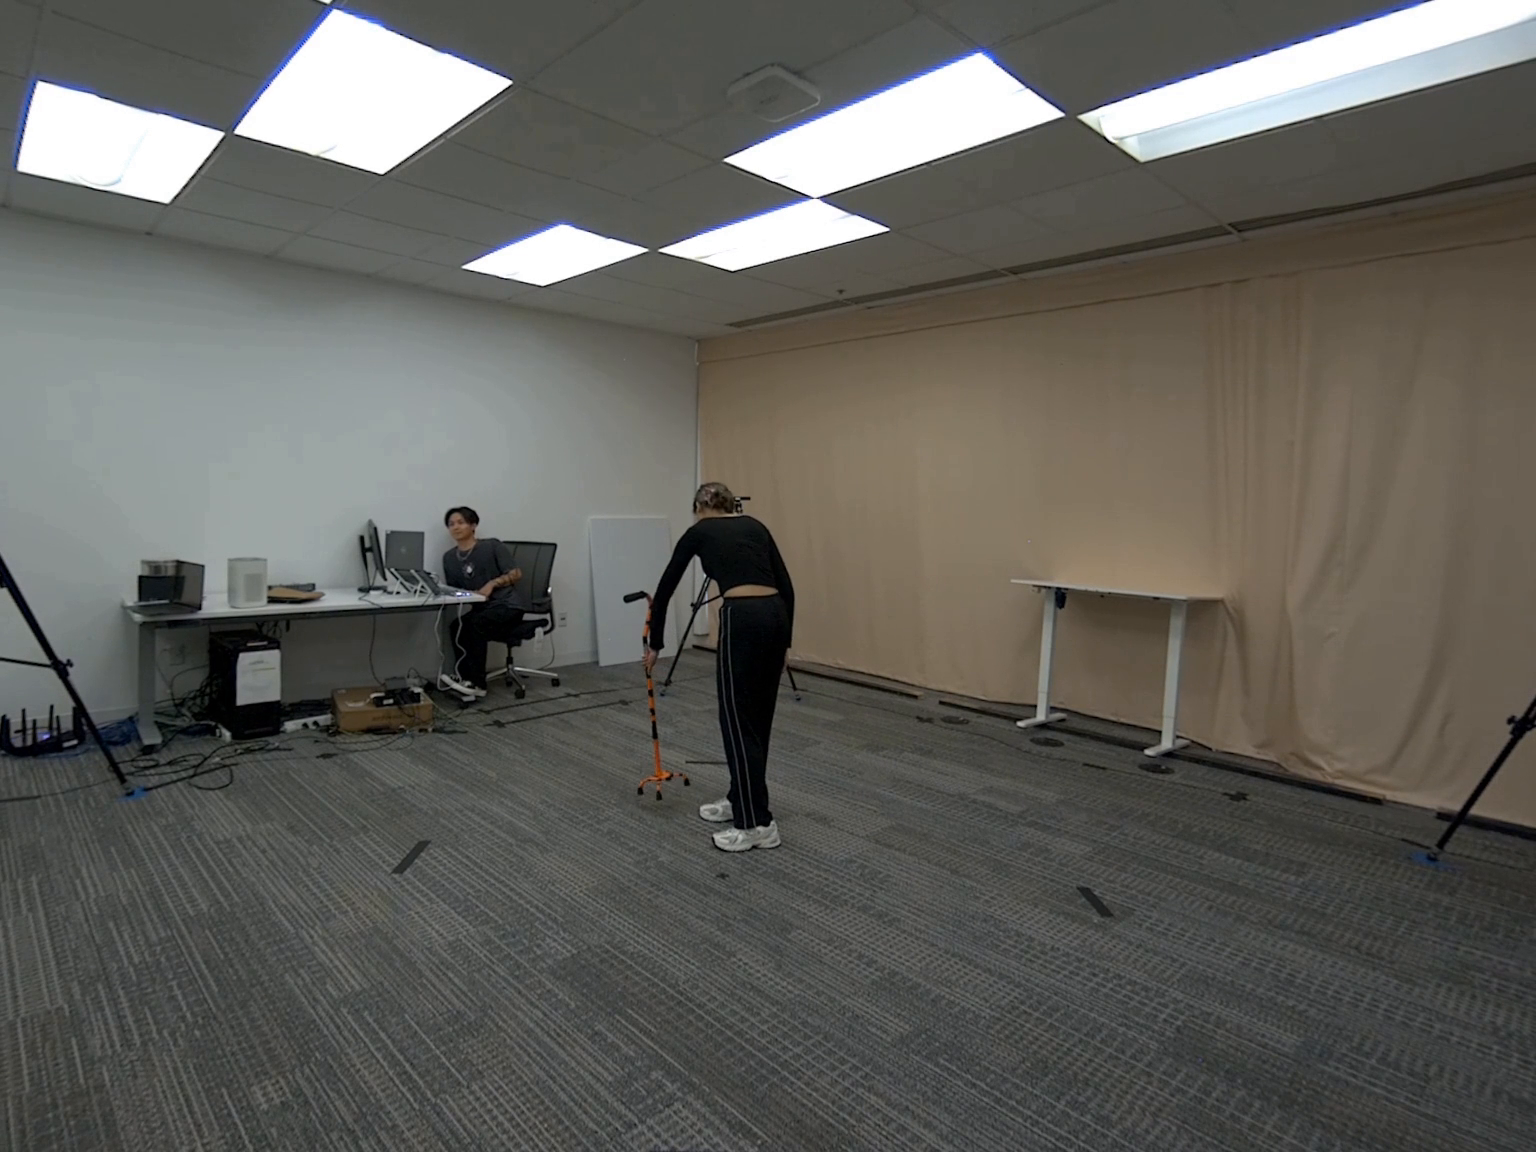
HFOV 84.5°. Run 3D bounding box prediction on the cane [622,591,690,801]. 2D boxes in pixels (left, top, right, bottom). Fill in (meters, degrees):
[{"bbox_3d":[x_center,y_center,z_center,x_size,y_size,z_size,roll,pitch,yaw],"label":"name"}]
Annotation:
[{"bbox_3d":[-0.520,0.519,3.750,0.155,0.902,0.203,1,10,41],"label":"cane"}]
